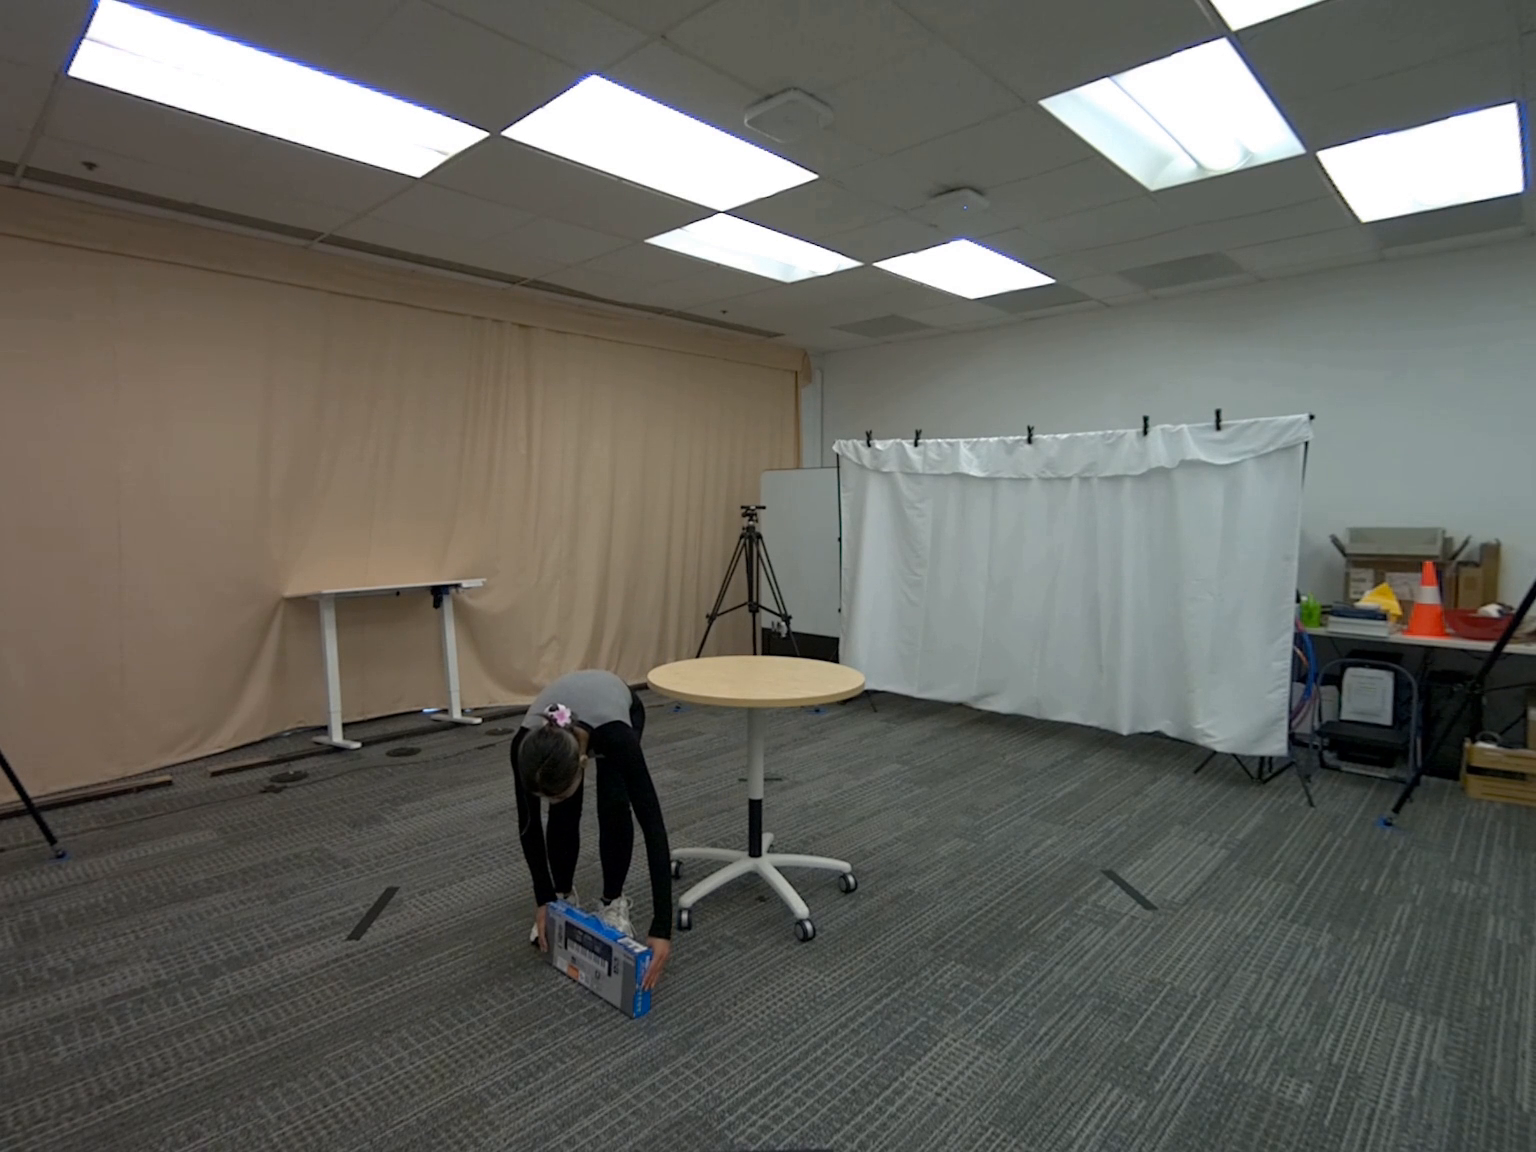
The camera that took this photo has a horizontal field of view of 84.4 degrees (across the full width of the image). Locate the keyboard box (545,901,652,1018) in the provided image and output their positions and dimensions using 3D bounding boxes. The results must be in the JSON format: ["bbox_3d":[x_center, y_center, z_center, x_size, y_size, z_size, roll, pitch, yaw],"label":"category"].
[{"bbox_3d":[-0.504,1.106,2.449,0.451,0.176,0.057,4,0,43],"label":"keyboard box"}]
